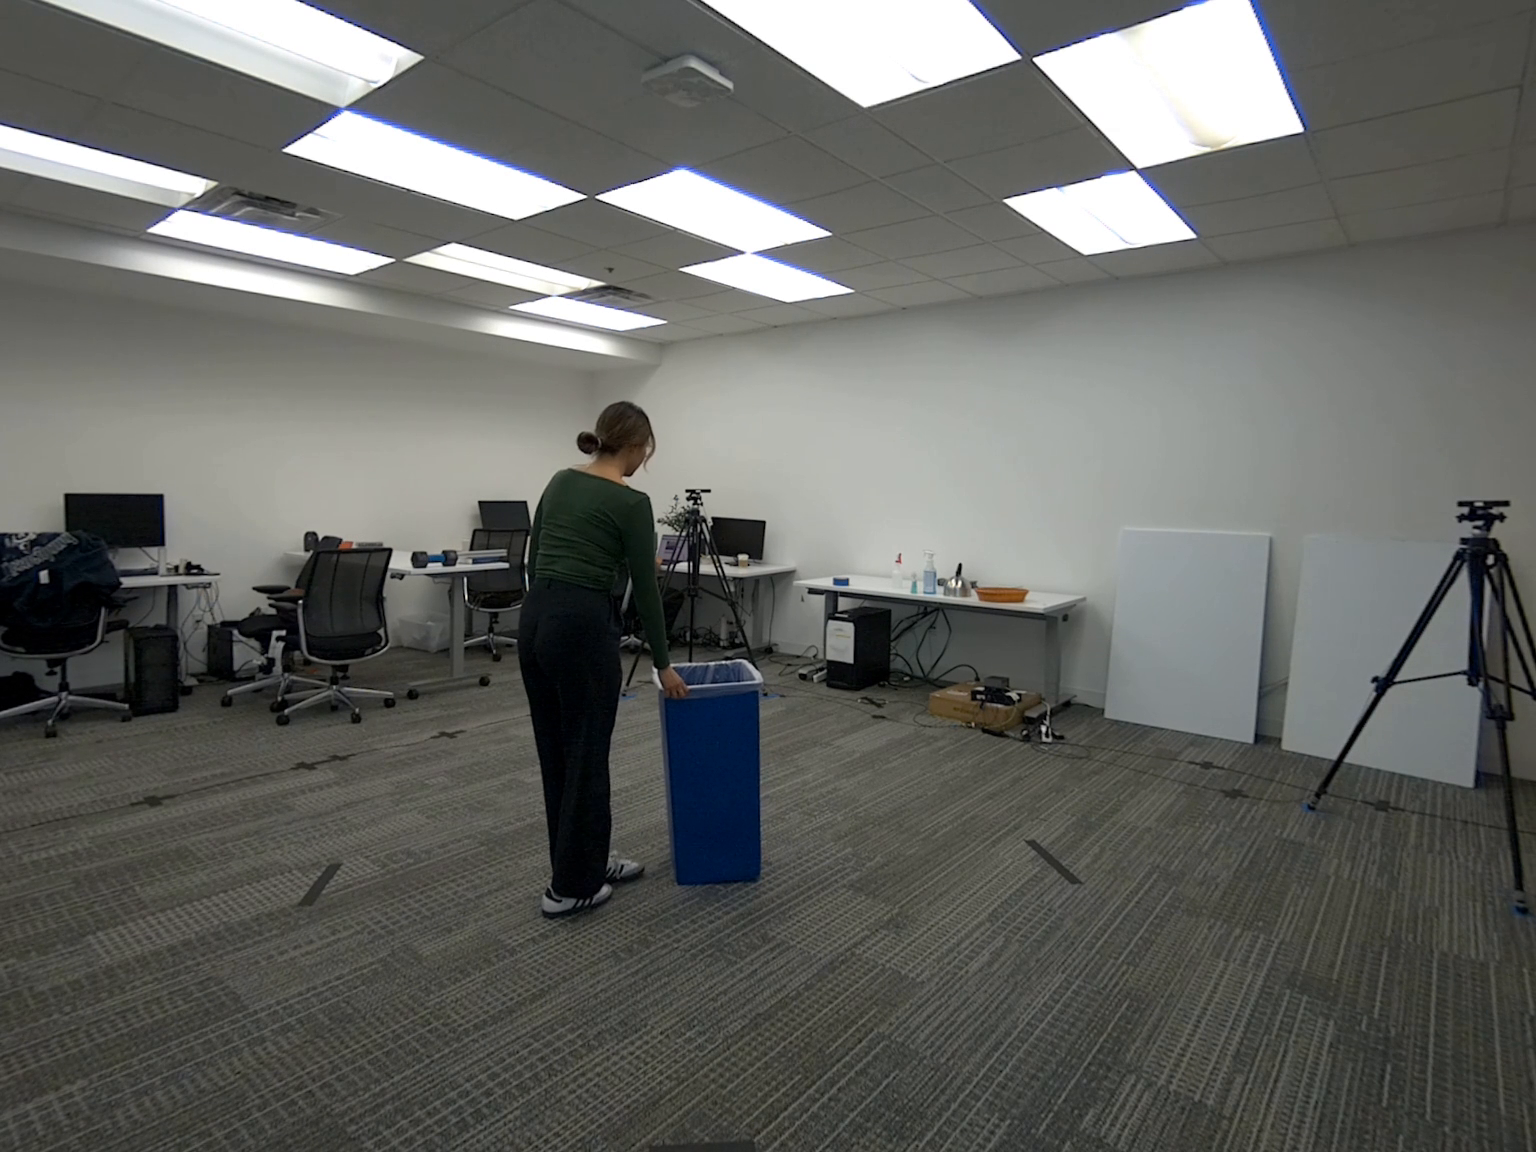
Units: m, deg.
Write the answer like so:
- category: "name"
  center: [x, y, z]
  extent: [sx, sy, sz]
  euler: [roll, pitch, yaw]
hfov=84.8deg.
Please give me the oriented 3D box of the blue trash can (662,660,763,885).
- category: "blue trash can"
  center: [-0.222, 0.708, 3.134]
  extent: [0.371, 0.710, 0.383]
  euler: [-4, 5, -10]
